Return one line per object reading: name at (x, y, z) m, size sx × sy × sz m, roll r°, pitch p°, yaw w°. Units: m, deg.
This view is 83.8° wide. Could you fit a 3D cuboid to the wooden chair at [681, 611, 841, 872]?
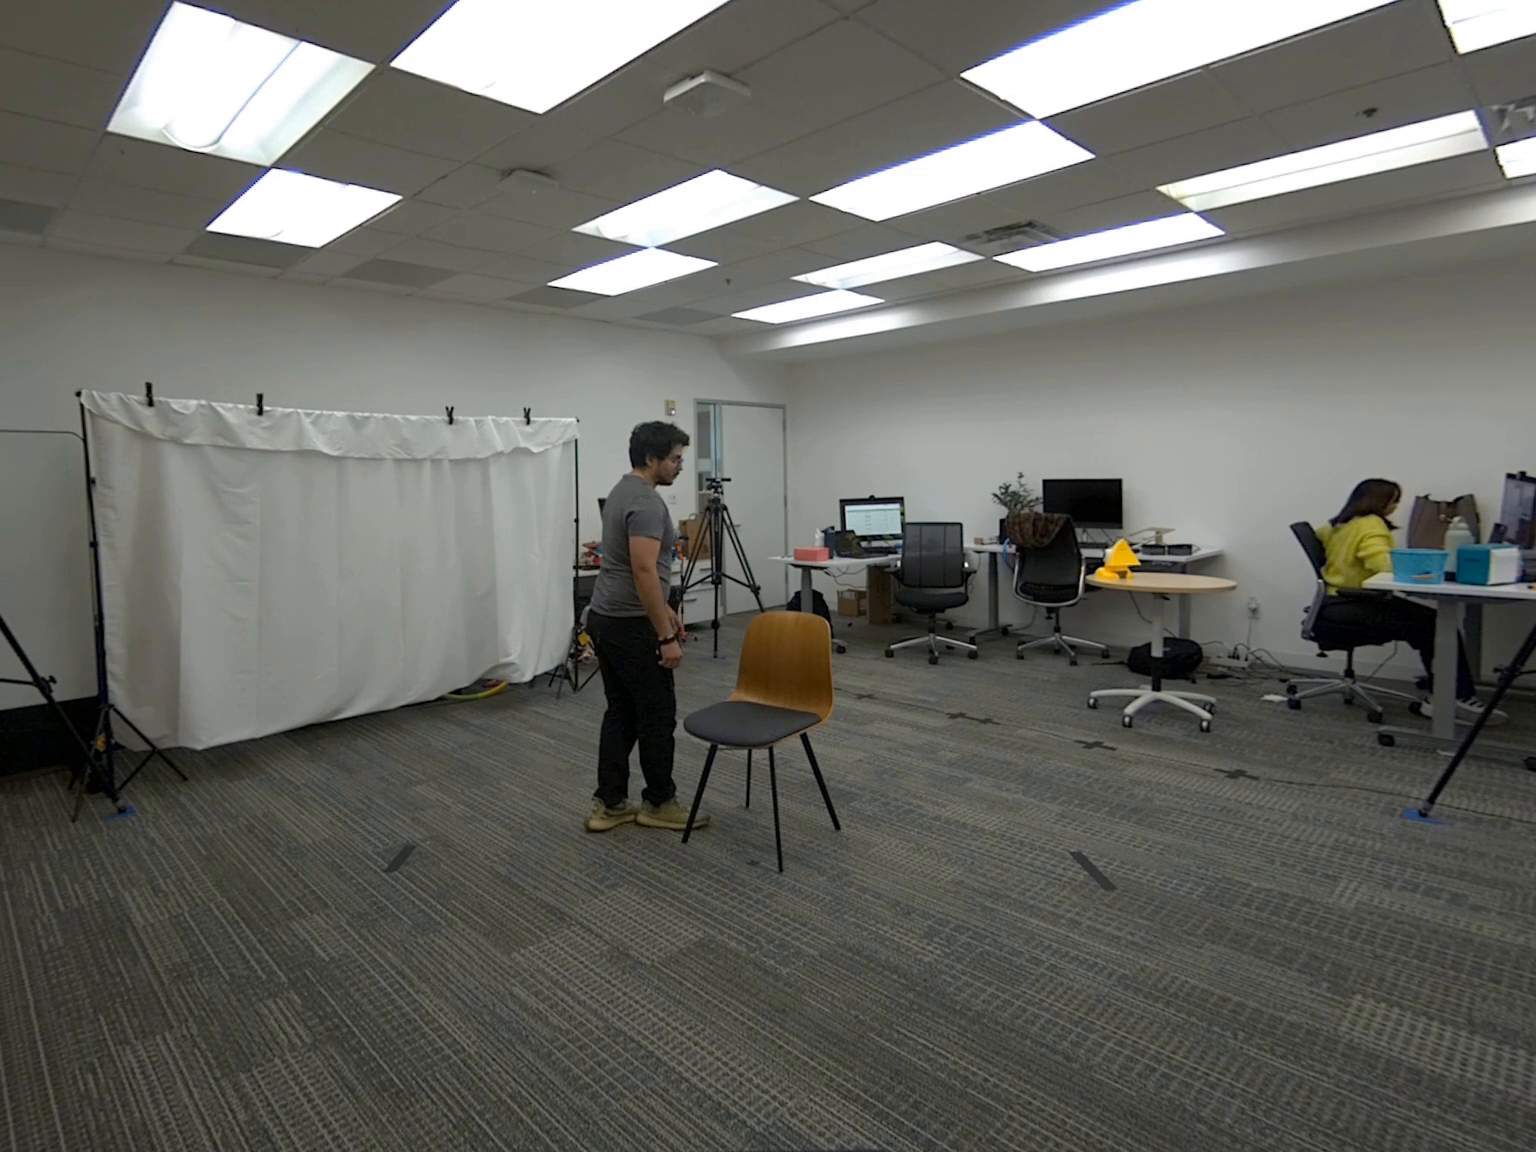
wooden chair at (-0.028, 0.591, 3.290) m, size 0.492 × 0.877 × 0.509 m, roll 2°, pitch 1°, yaw 34°
